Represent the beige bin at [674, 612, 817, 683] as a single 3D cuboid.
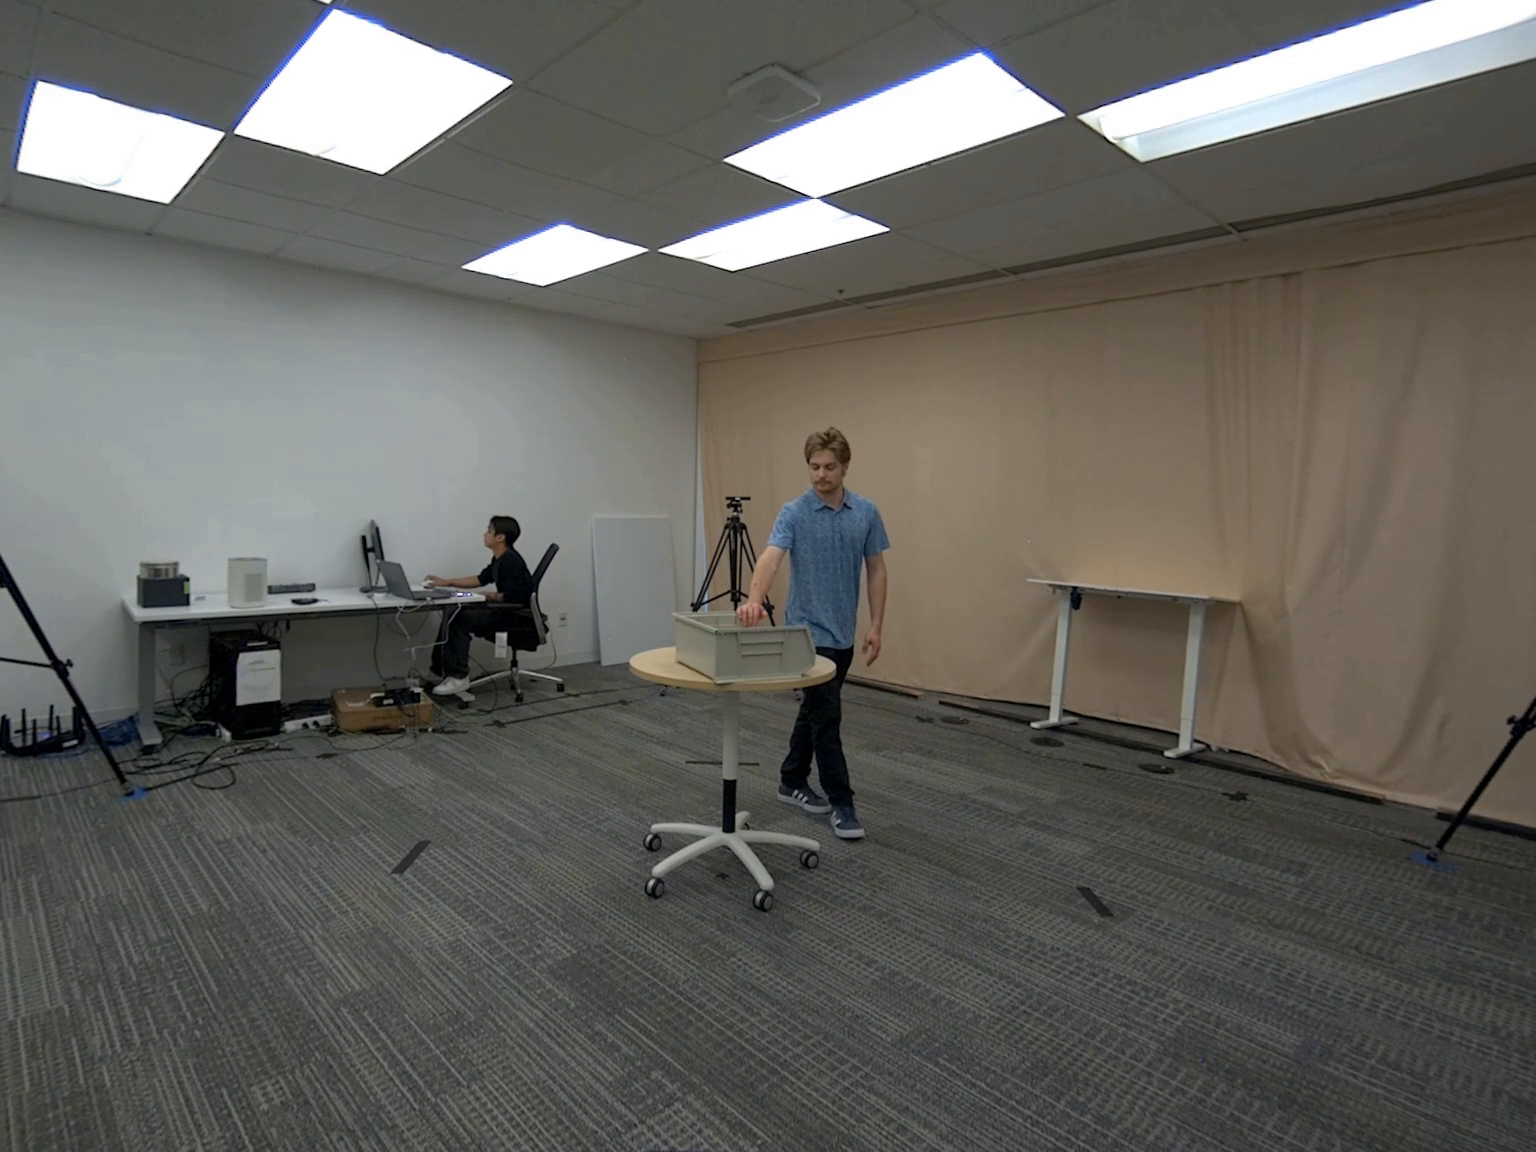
[{"bbox_3d":[-0.108,0.242,2.984,0.371,0.188,0.431,-2,6,-25],"label":"beige bin"}]
